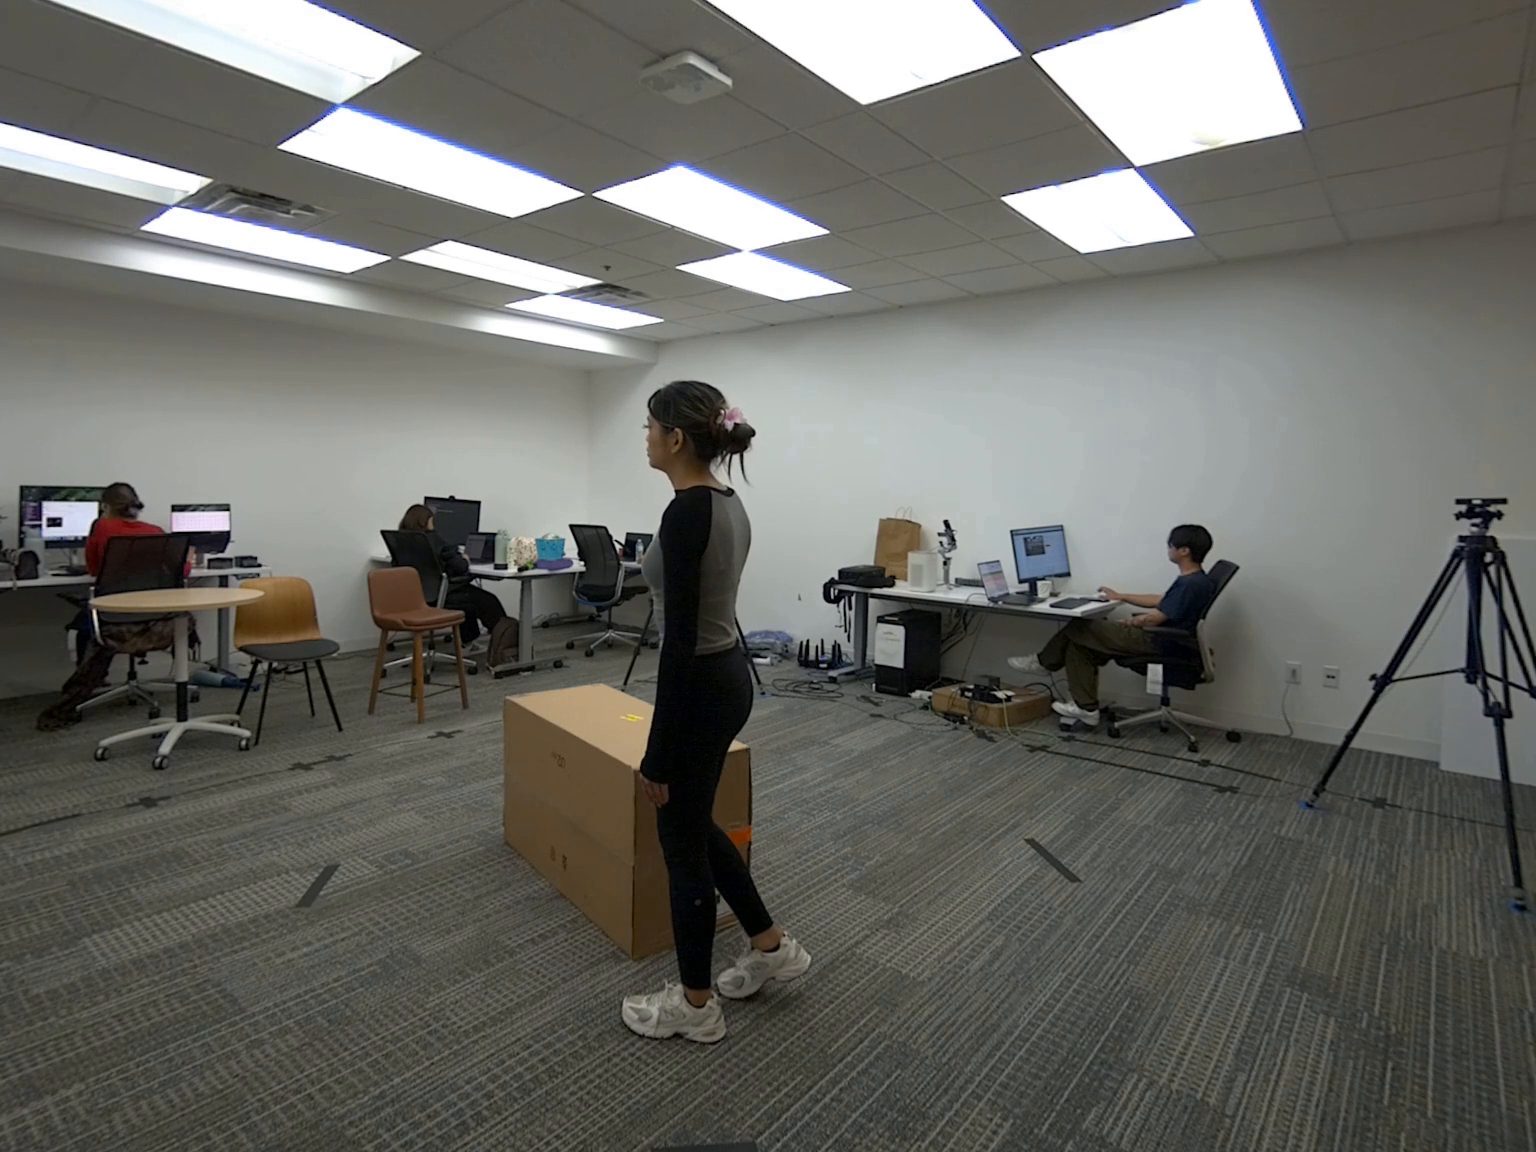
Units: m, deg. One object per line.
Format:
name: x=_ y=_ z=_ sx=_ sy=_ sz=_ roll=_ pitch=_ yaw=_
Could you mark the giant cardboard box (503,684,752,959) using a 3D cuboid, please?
giant cardboard box: x=-0.549 y=0.786 z=3.011 sx=0.414 sy=0.575 sz=1.060 roll=-2 pitch=6 yaw=-37
